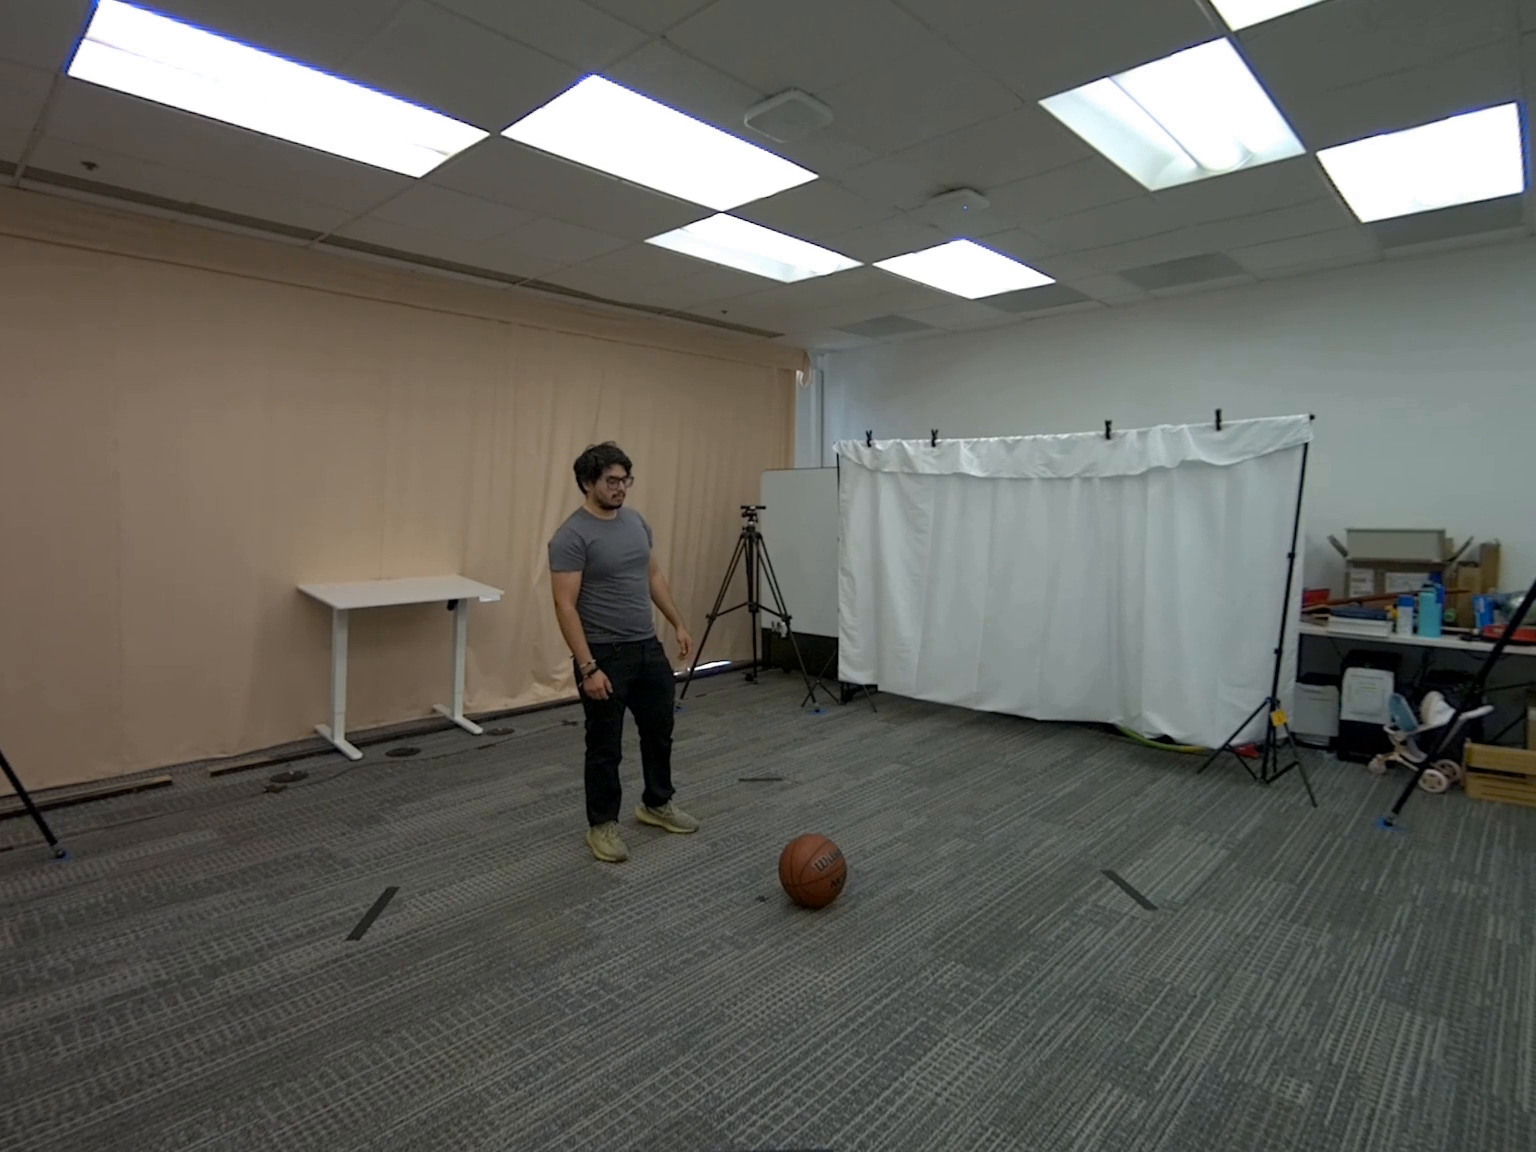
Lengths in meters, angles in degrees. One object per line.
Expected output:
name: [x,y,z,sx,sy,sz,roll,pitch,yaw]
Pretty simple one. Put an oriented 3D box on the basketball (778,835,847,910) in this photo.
basketball: [0.159,1.026,2.950,0.236,0.235,0.237,0,4,-2]
